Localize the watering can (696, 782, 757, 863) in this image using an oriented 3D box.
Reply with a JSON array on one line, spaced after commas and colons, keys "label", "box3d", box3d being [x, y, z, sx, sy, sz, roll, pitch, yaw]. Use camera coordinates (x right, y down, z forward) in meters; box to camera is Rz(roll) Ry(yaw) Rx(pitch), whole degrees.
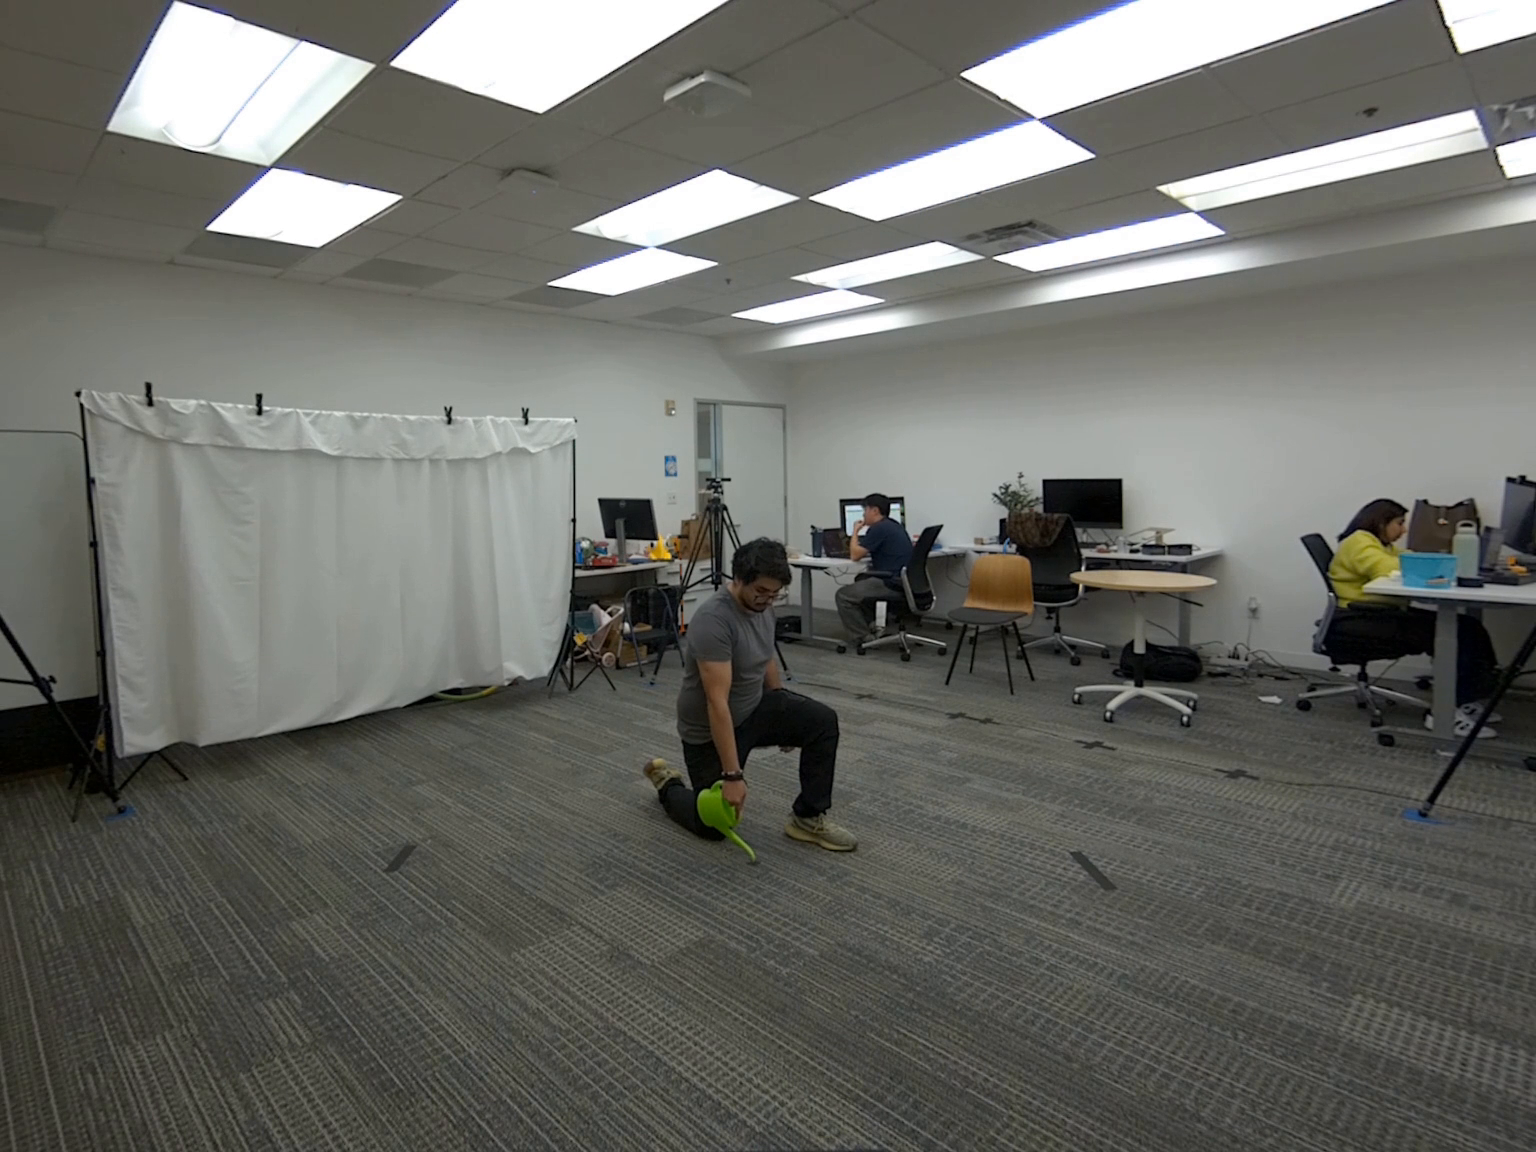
[{"label": "watering can", "box3d": [-0.152, 0.868, 3.016, 0.095, 0.282, 0.180, 4, -16, -42]}]
